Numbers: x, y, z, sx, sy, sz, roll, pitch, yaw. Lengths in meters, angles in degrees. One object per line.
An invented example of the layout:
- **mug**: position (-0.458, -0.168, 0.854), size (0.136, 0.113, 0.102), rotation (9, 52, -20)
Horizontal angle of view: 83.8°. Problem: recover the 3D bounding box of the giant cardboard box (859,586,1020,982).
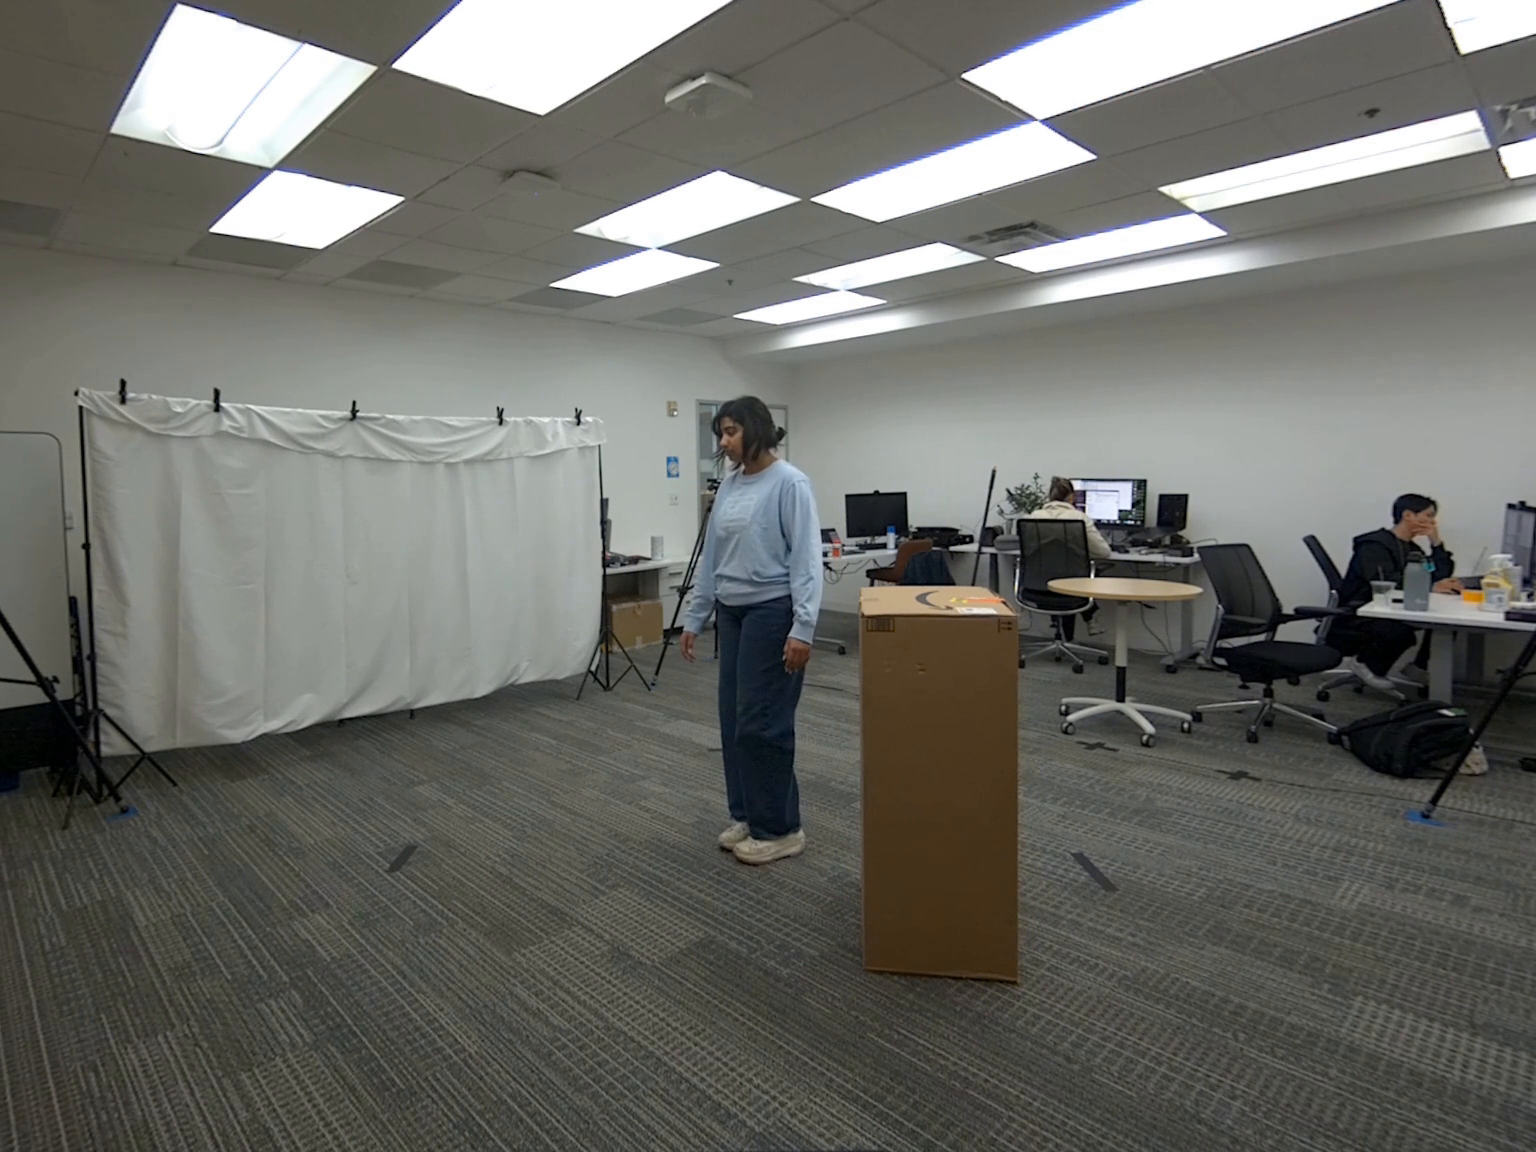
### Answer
- **giant cardboard box**: position (0.510, 0.581, 2.627), size (0.430, 1.022, 0.575), rotation (-1, 4, 7)
